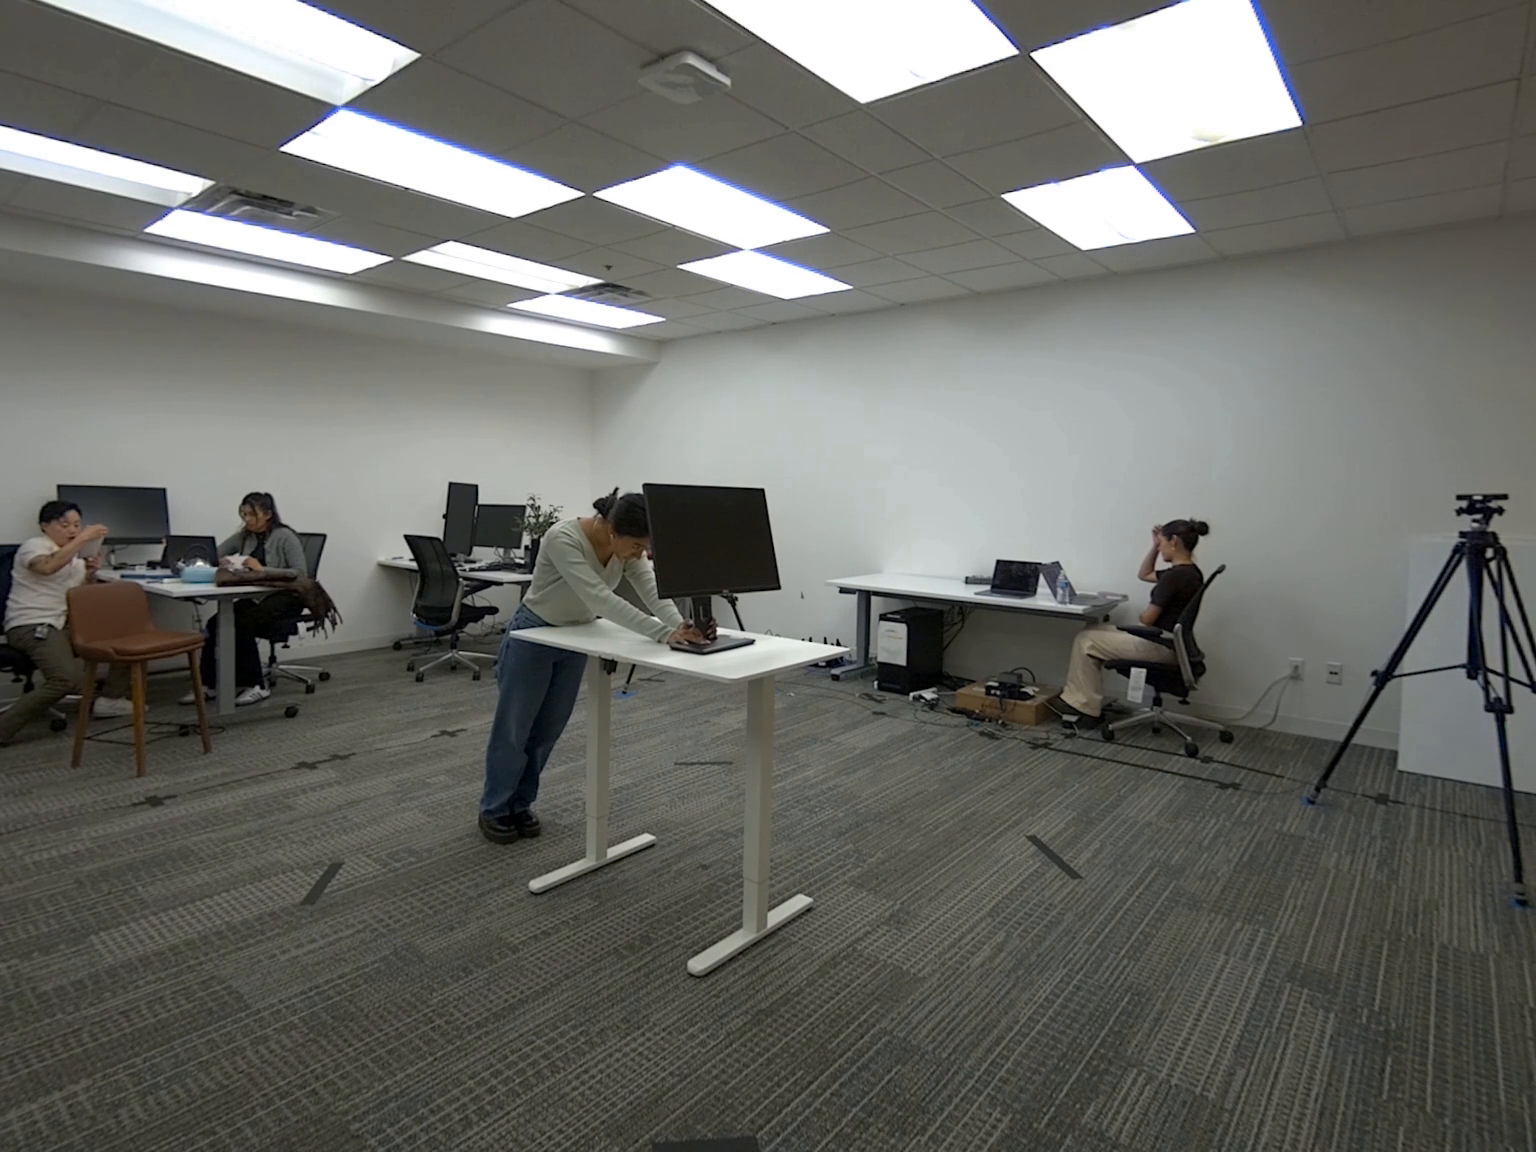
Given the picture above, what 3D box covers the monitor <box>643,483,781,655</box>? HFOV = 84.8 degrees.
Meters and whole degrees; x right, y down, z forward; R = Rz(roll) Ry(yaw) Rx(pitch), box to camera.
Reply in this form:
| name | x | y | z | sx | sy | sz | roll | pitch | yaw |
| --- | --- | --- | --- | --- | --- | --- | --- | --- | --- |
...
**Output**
| name | x | y | z | sx | sy | sz | roll | pitch | yaw |
| --- | --- | --- | --- | --- | --- | --- | --- | --- | --- |
| monitor | -0.198 | -0.030 | 2.721 | 0.193 | 0.522 | 0.523 | 1 | 2 | 41 |
